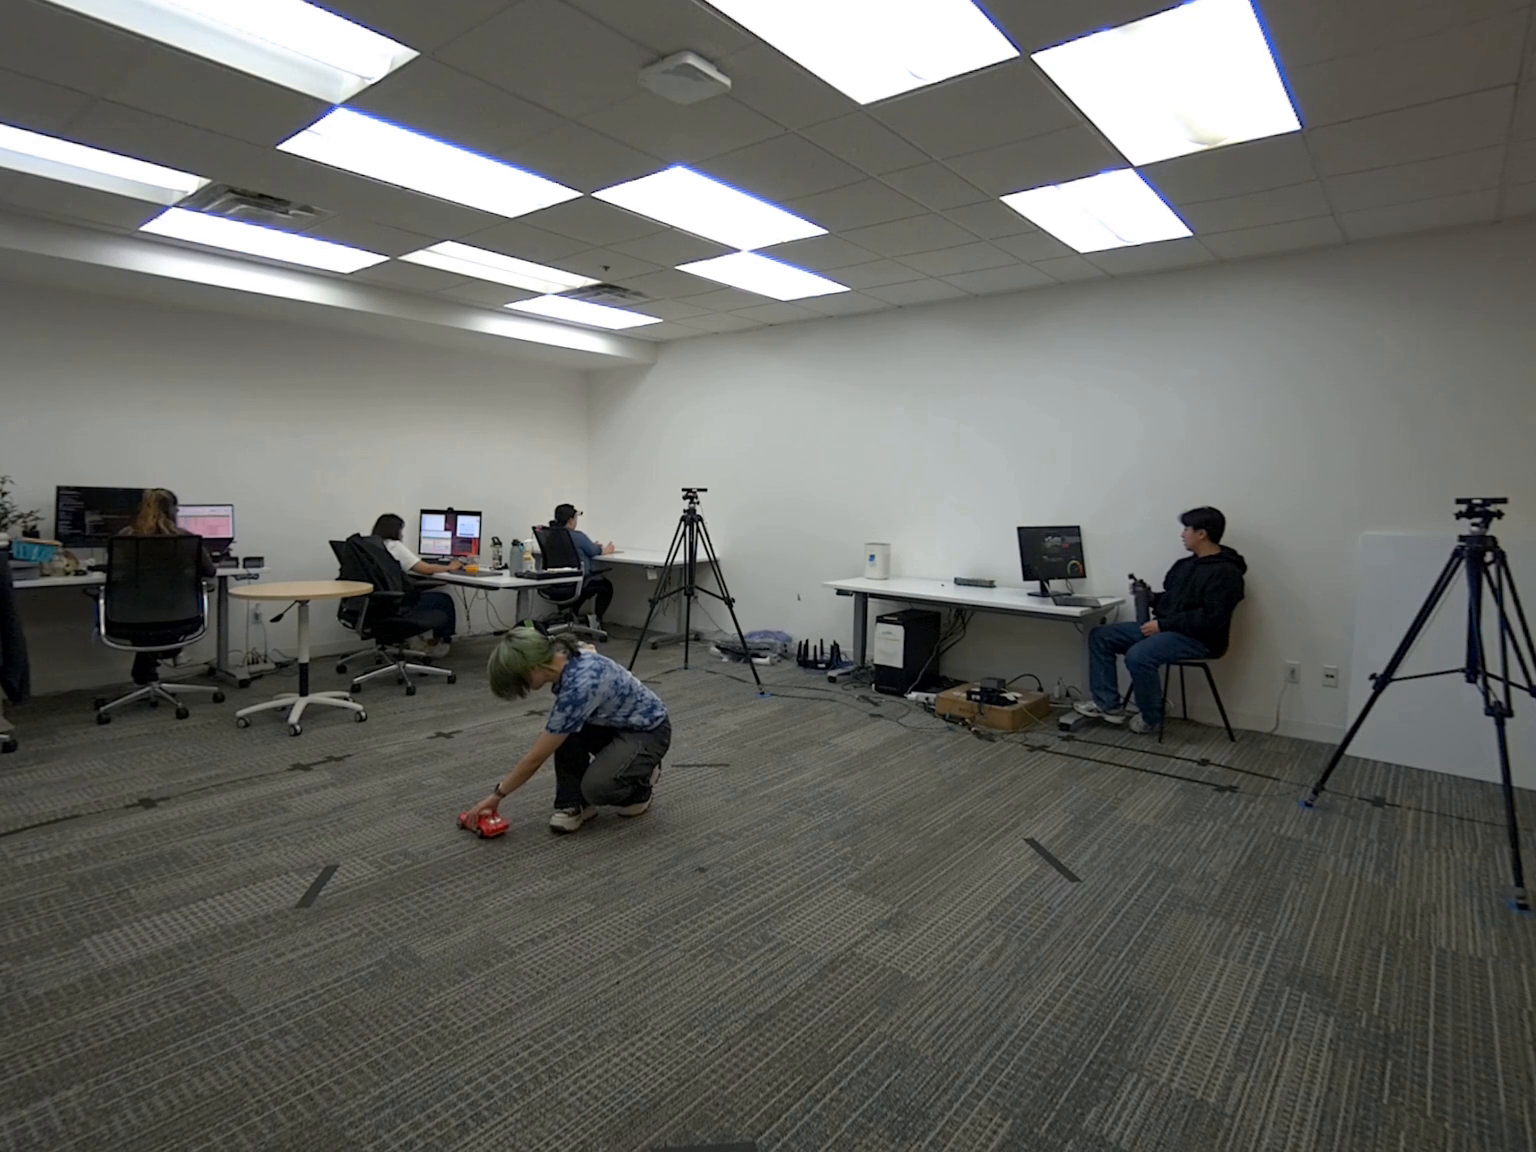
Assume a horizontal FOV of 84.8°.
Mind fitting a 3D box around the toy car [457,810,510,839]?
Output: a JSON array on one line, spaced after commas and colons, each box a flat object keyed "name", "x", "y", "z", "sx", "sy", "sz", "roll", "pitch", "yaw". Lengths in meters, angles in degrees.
[{"name": "toy car", "x": -1.153, "y": 0.996, "z": 3.426, "sx": 0.261, "sy": 0.083, "sz": 0.126, "roll": -8, "pitch": -2, "yaw": 40}]
